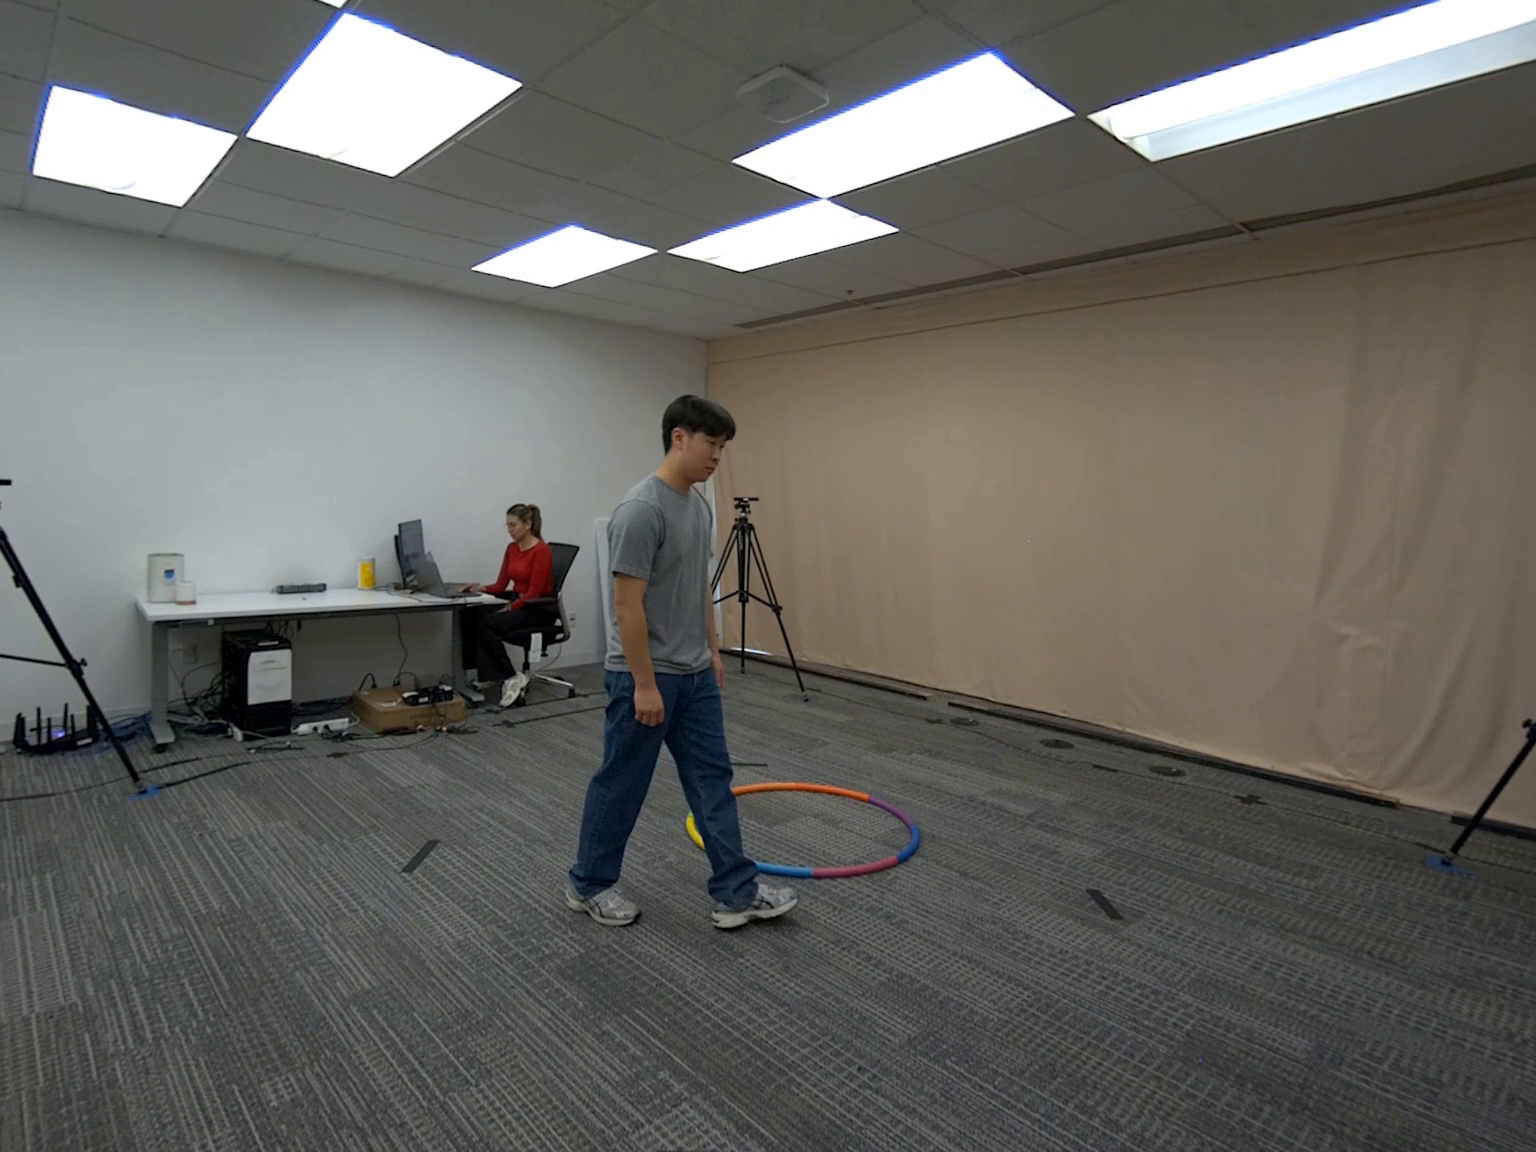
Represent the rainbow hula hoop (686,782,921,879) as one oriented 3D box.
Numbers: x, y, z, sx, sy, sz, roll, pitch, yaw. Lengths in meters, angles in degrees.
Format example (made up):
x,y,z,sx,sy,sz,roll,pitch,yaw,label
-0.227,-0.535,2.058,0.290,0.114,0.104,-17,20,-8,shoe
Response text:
x,y,z,sx,sy,sz,roll,pitch,yaw,label
0.124,1.040,3.585,0.978,0.035,0.982,2,5,-1,rainbow hula hoop
